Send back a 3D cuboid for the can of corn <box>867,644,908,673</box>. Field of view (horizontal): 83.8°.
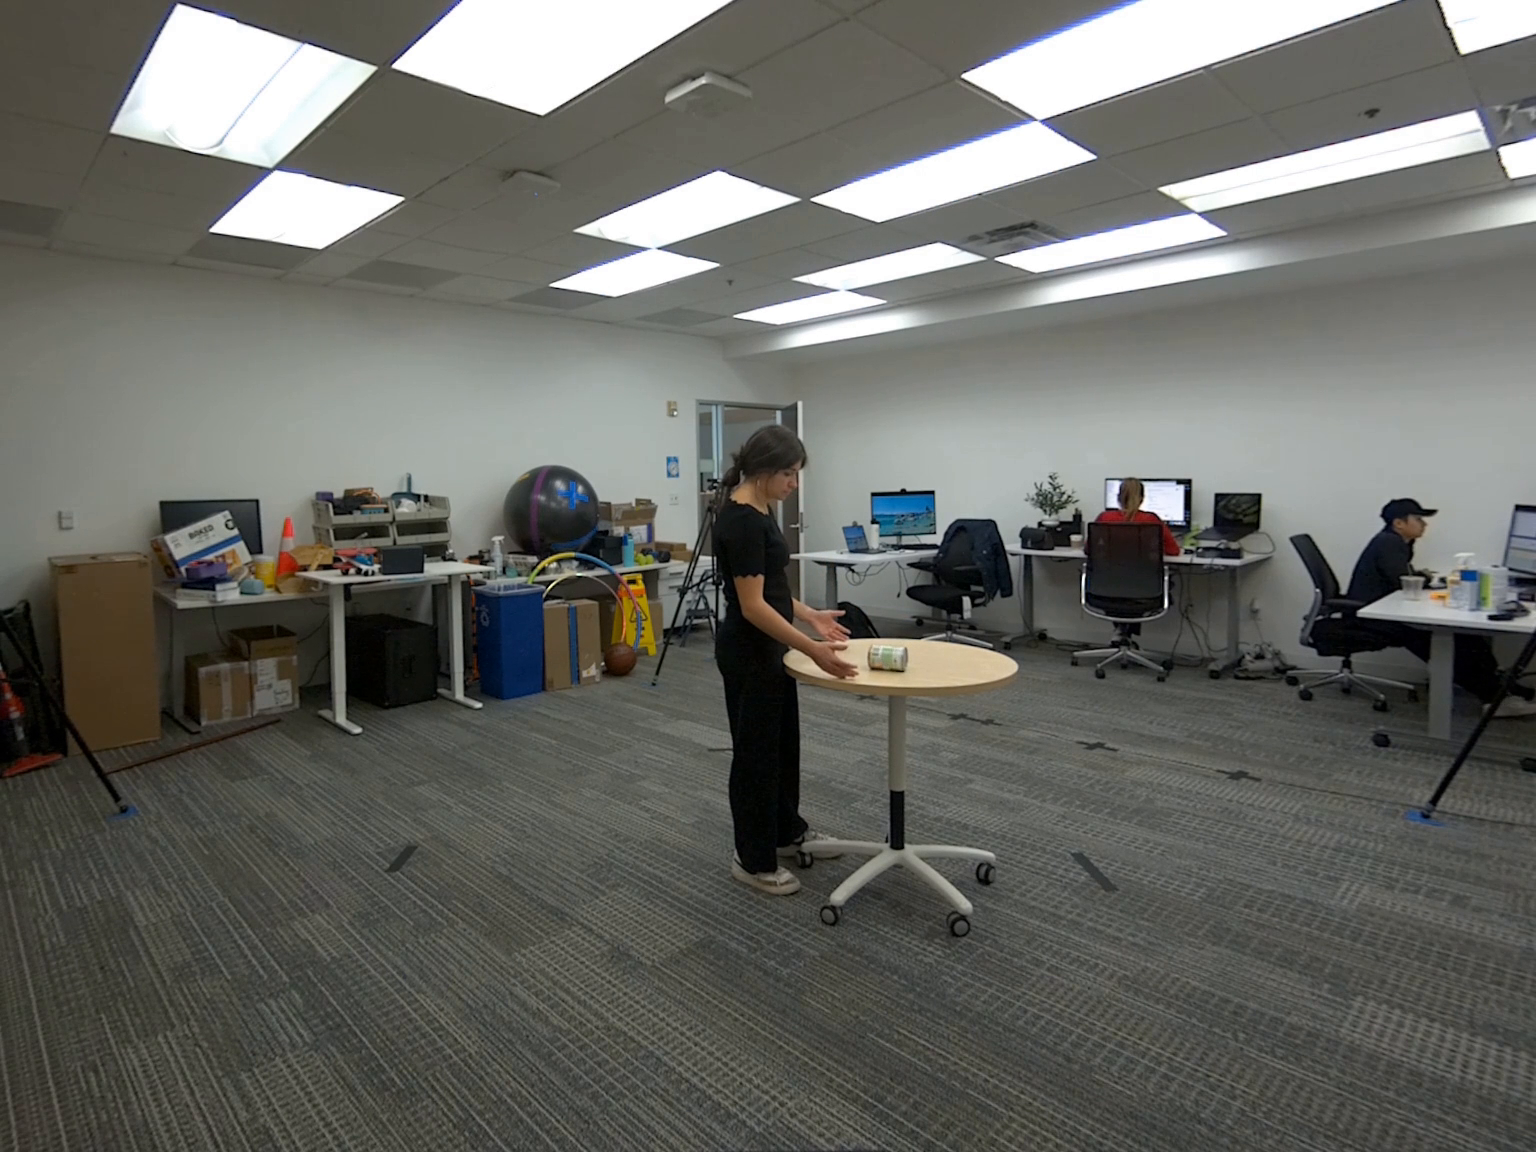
[{"bbox_3d":[0.379,0.258,2.695,0.113,0.074,0.073,2,6,23],"label":"can of corn"}]
